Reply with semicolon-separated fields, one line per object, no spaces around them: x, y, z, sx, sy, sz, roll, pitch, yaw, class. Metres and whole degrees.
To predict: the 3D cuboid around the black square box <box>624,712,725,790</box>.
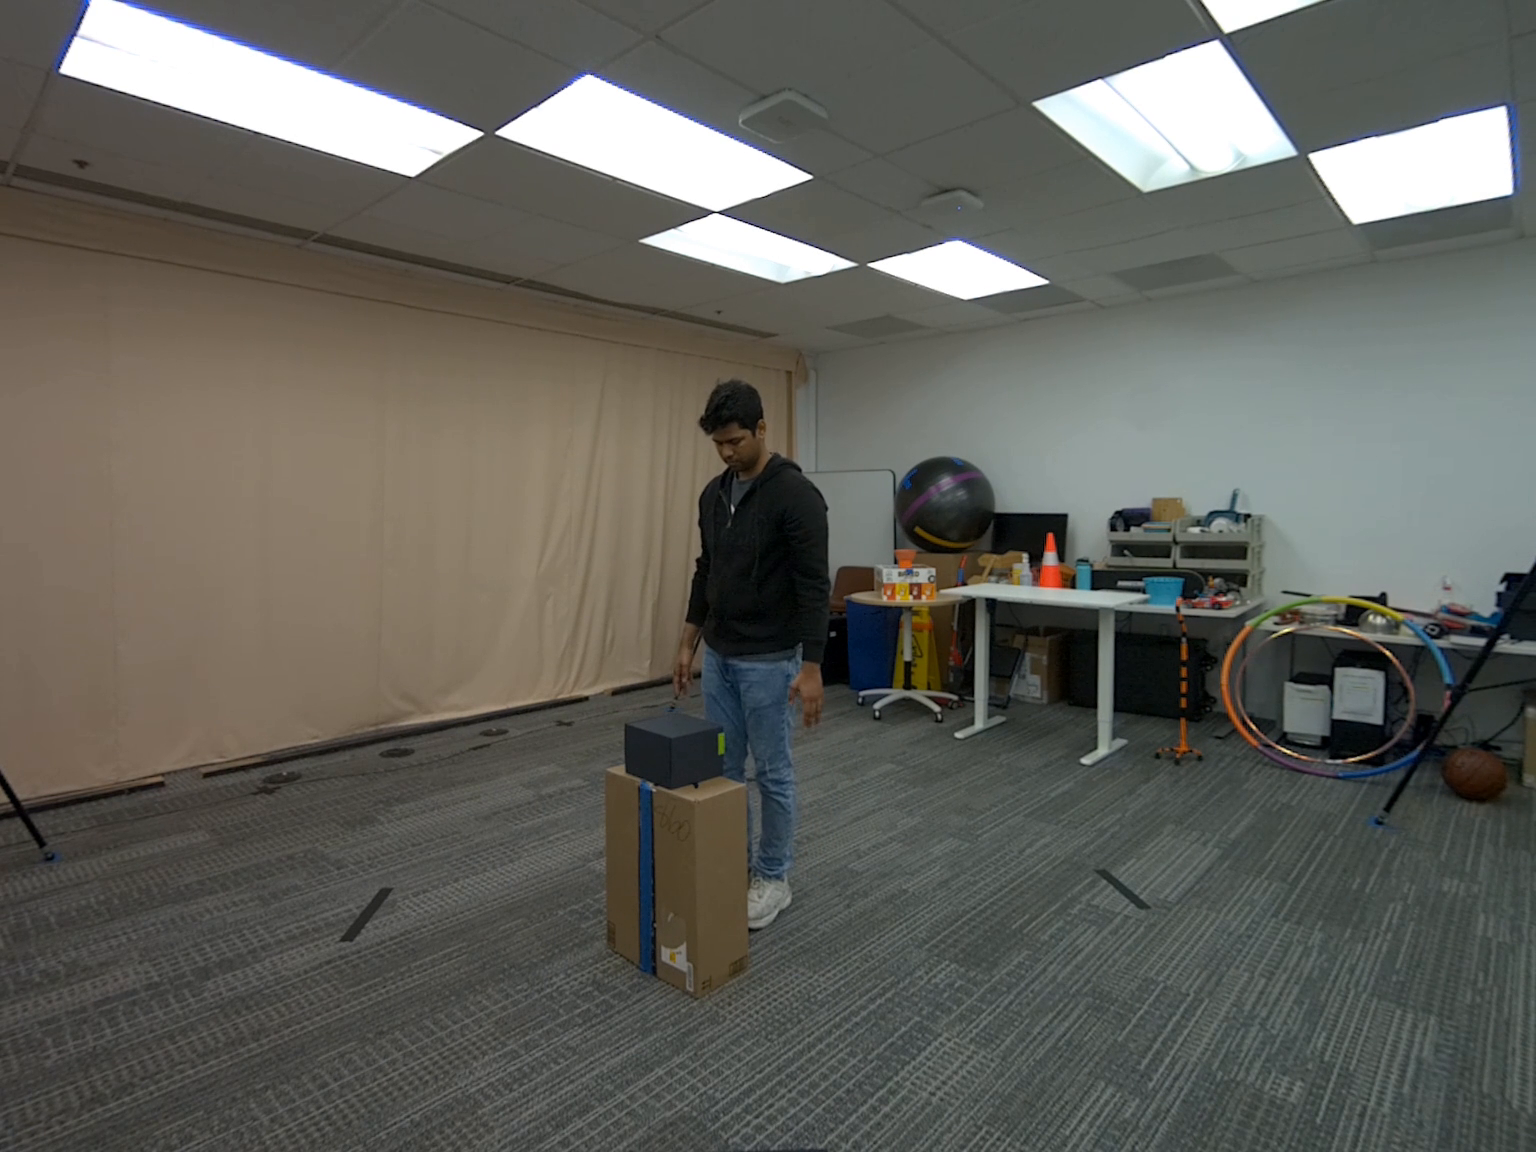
-0.290;0.538;2.587;0.210;0.155;0.235;-3;6;-44;black square box
